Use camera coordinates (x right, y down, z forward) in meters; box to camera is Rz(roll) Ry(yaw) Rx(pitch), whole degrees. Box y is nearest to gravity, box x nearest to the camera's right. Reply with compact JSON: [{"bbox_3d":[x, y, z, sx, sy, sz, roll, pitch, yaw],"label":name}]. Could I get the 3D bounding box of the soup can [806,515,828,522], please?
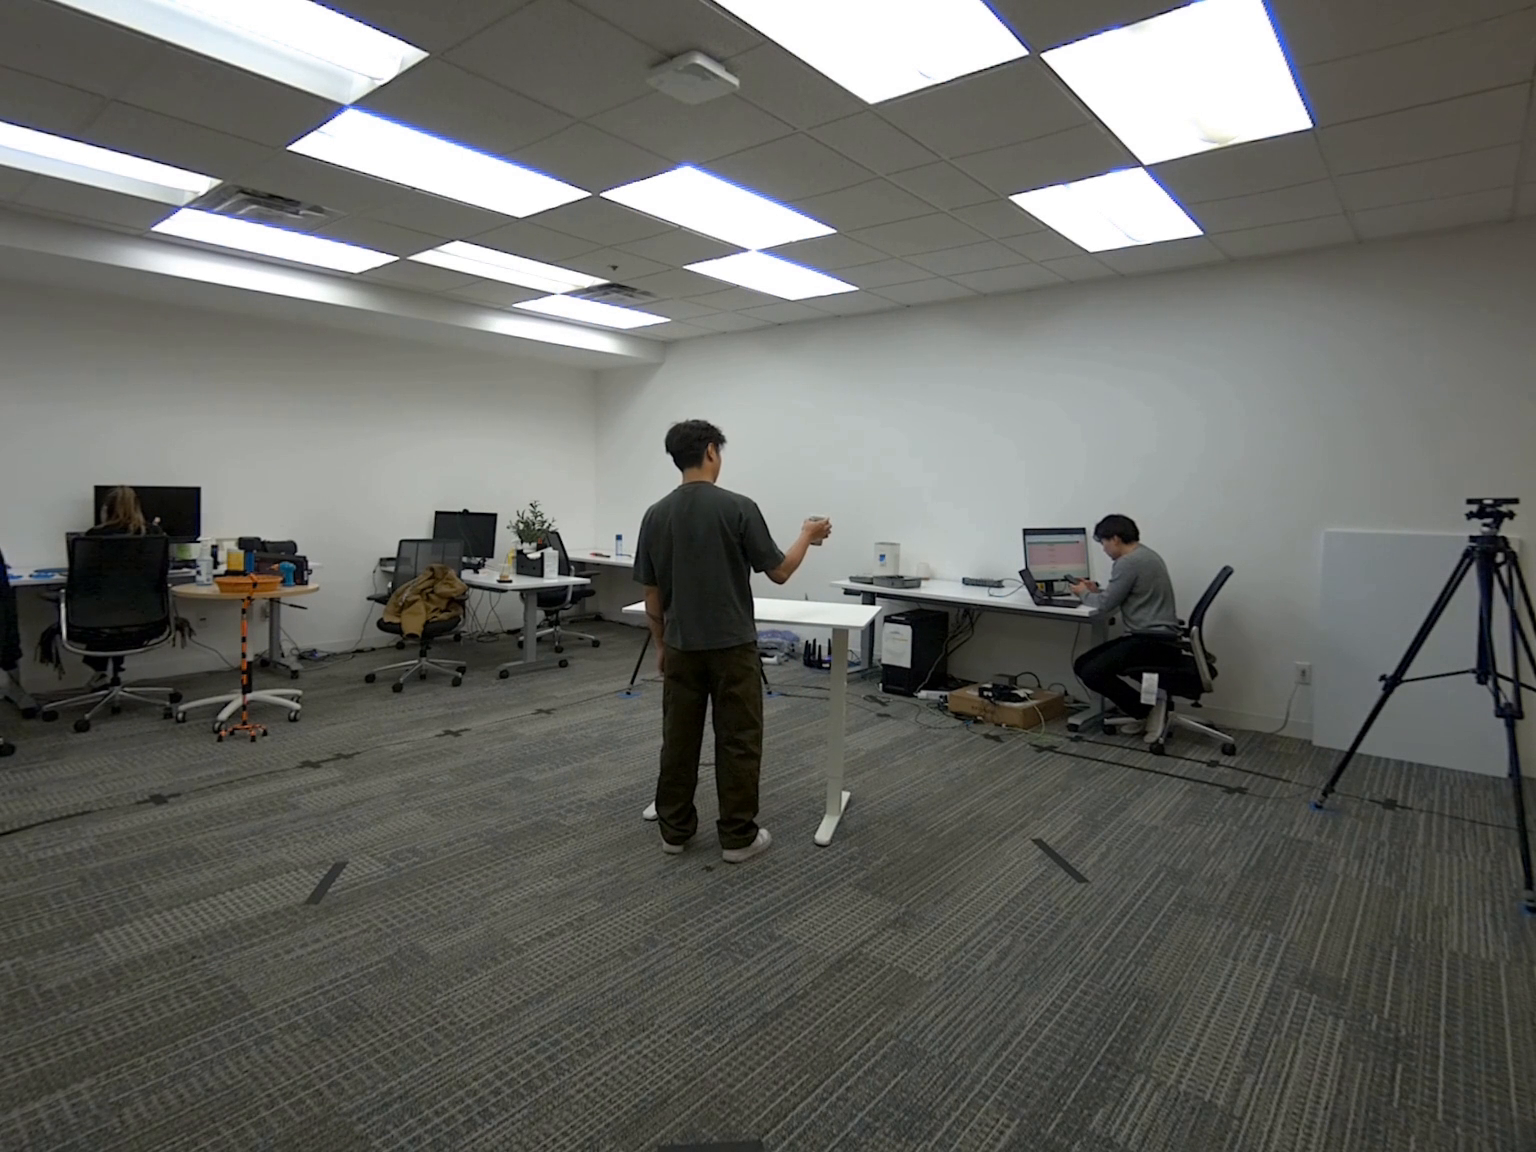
[{"bbox_3d":[0.178,-0.180,3.383,0.067,0.120,0.068,3,9,-2],"label":"soup can"}]
